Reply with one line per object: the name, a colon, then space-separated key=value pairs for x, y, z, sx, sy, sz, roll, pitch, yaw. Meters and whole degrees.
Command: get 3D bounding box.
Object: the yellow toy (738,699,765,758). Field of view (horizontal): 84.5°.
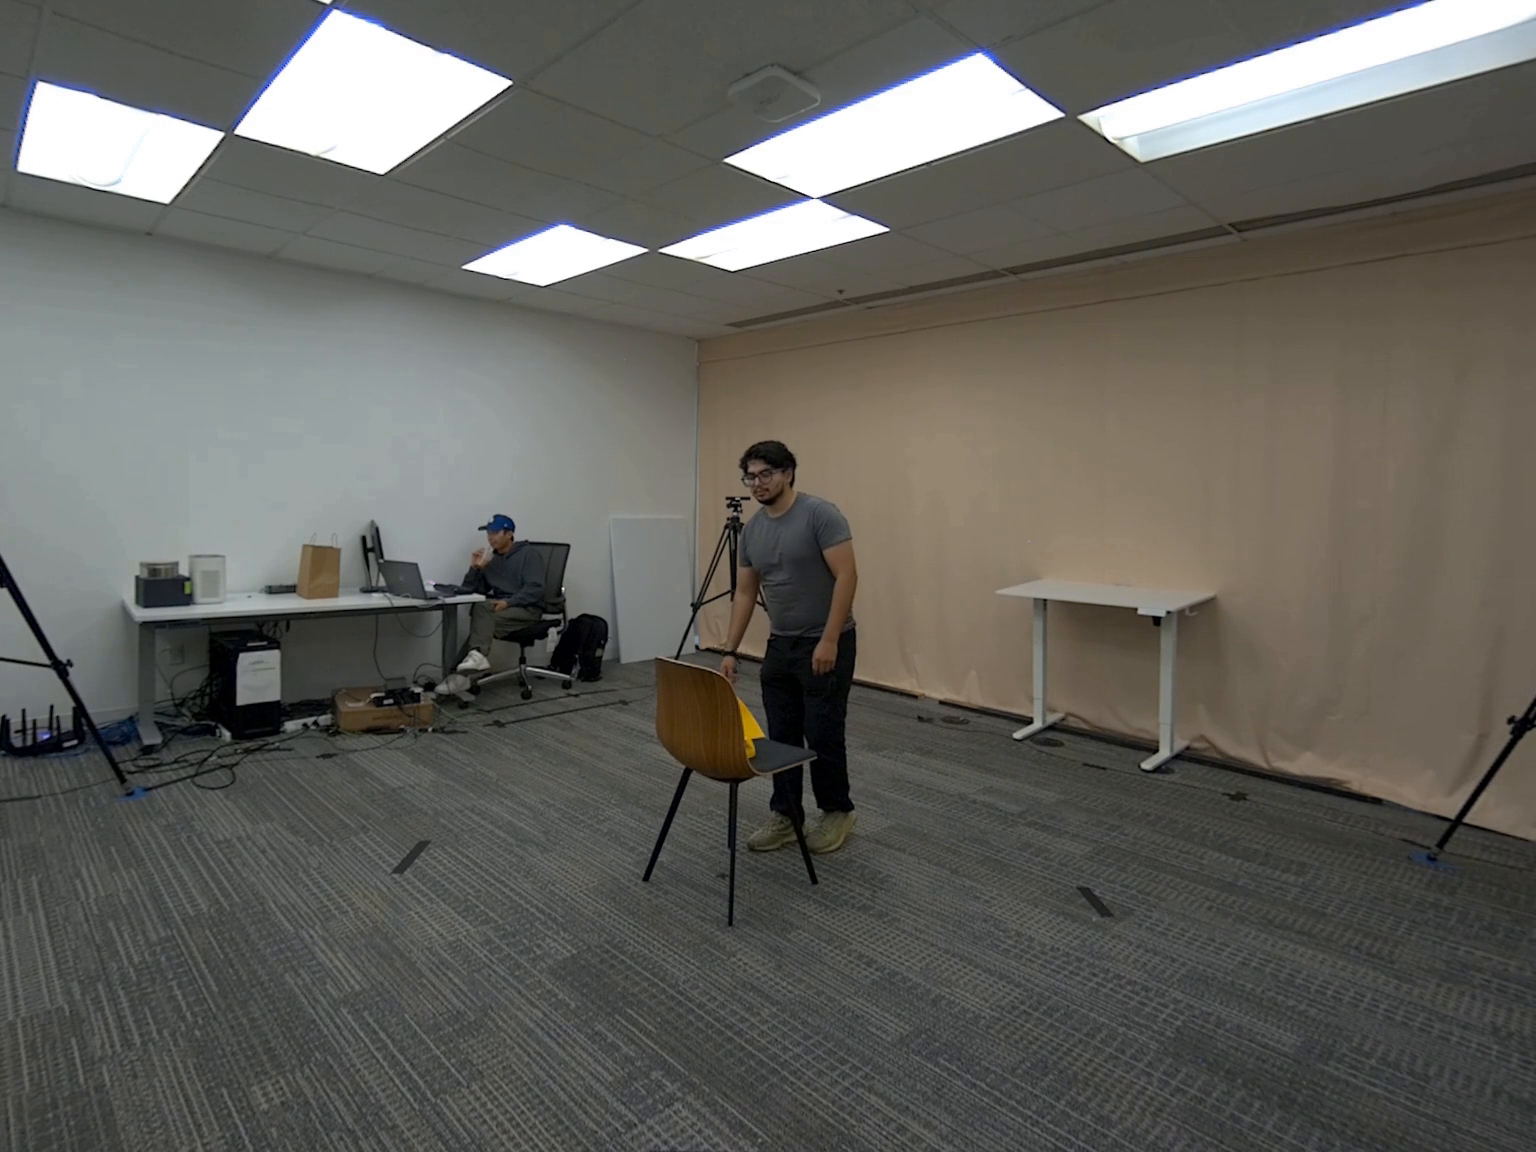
yellow toy: x=-0.154 y=0.529 z=2.996 sx=0.201 sy=0.229 sz=0.197 roll=-5 pitch=8 yaw=-29
